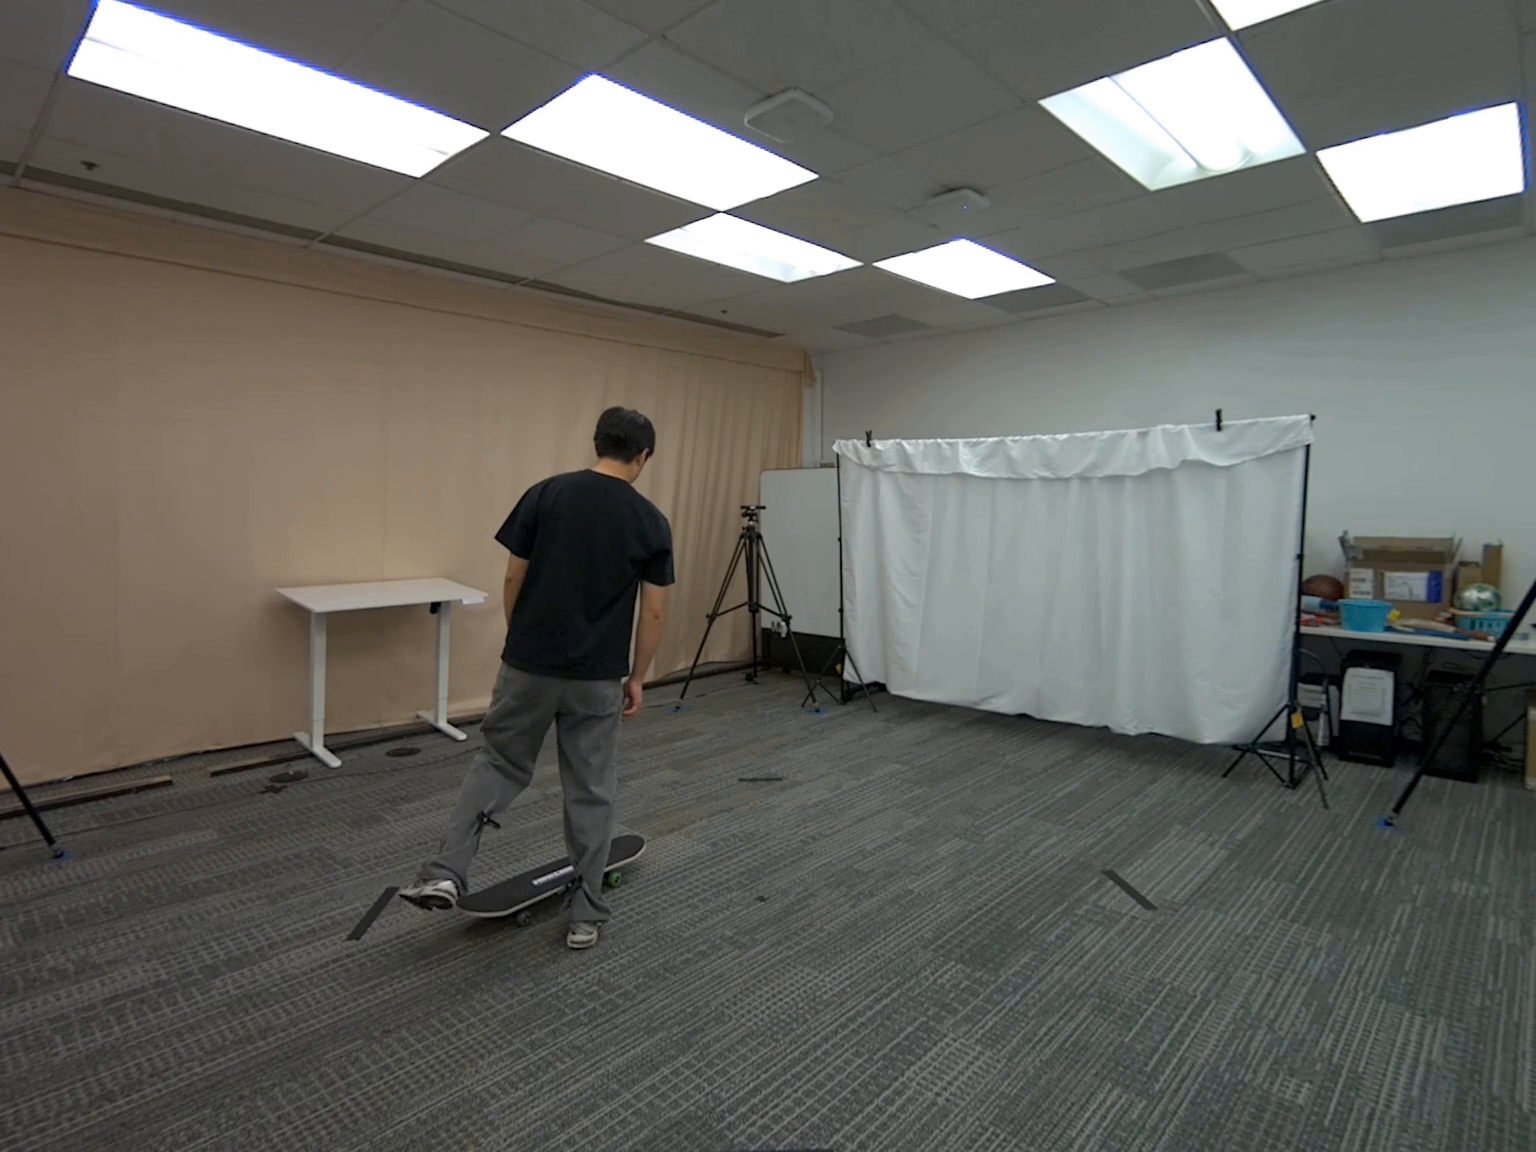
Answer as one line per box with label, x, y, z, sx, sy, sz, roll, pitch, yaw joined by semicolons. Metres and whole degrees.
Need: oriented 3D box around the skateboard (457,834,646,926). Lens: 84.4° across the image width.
skateboard;-0.748;1.094;2.992;0.200;0.110;0.762;4;6;40
